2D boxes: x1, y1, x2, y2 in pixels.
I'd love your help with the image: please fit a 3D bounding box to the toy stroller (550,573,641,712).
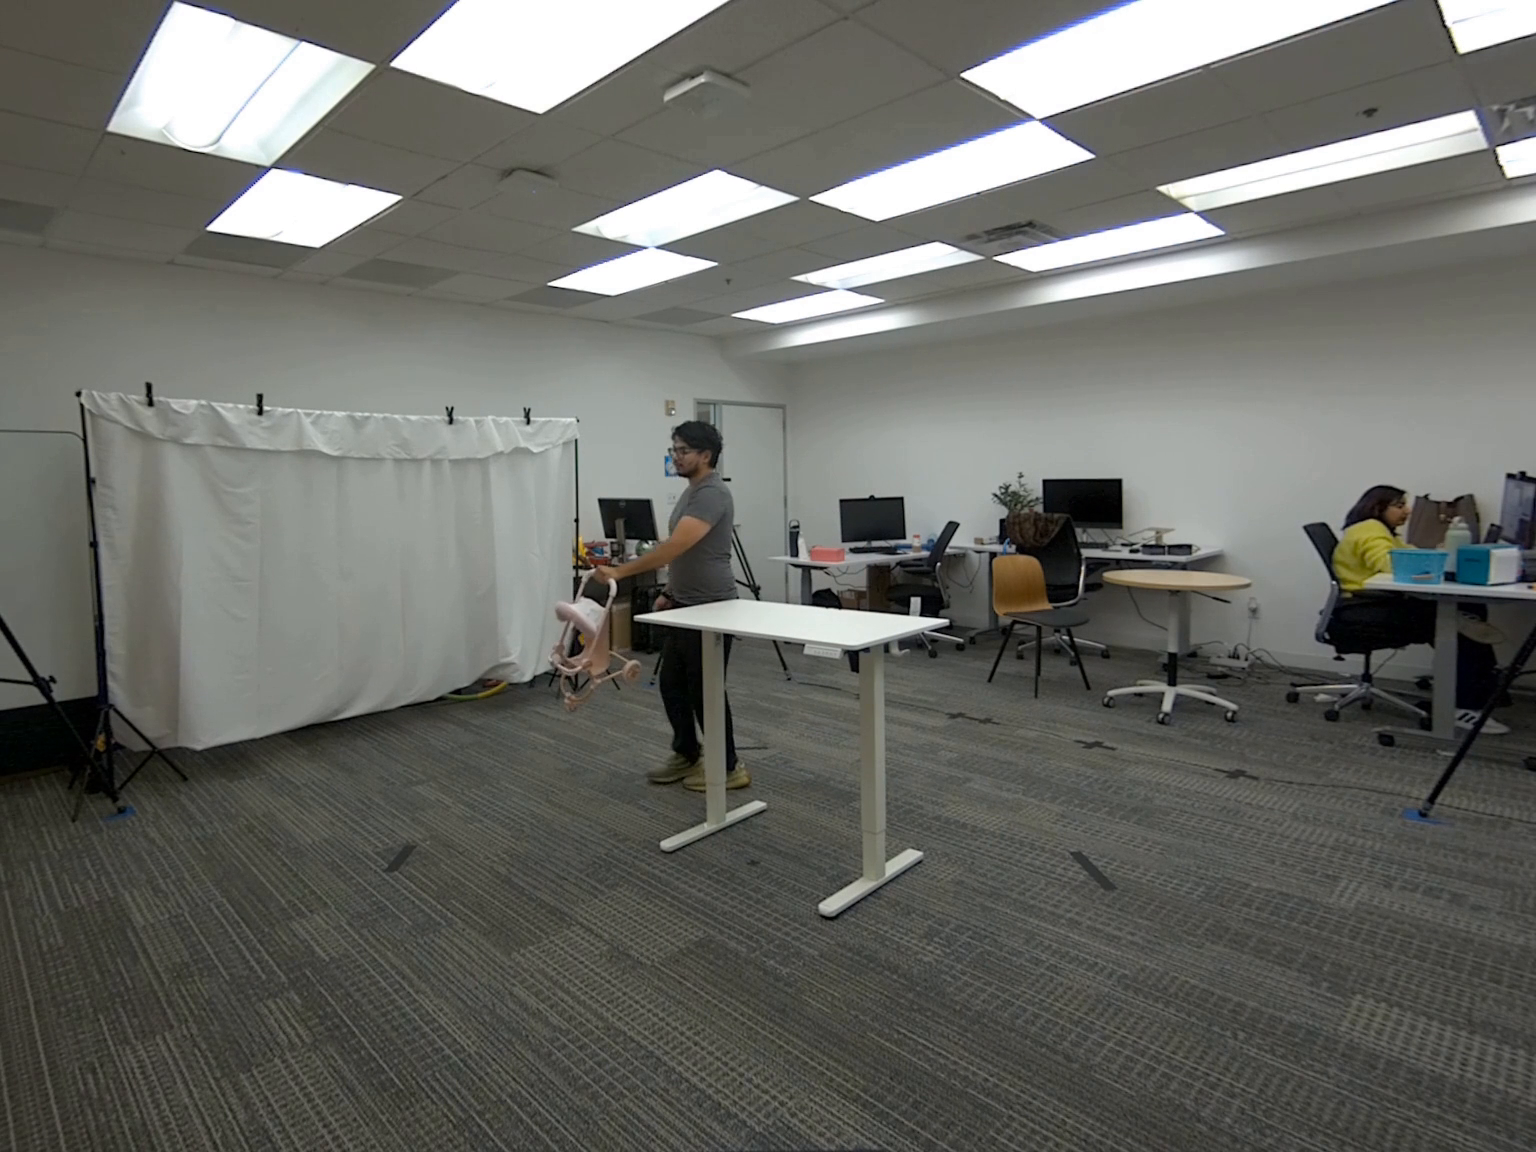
[{"bbox_3d":[-0.755,0.293,3.547,0.337,0.521,0.292,-29,37,-33],"label":"toy stroller"}]
